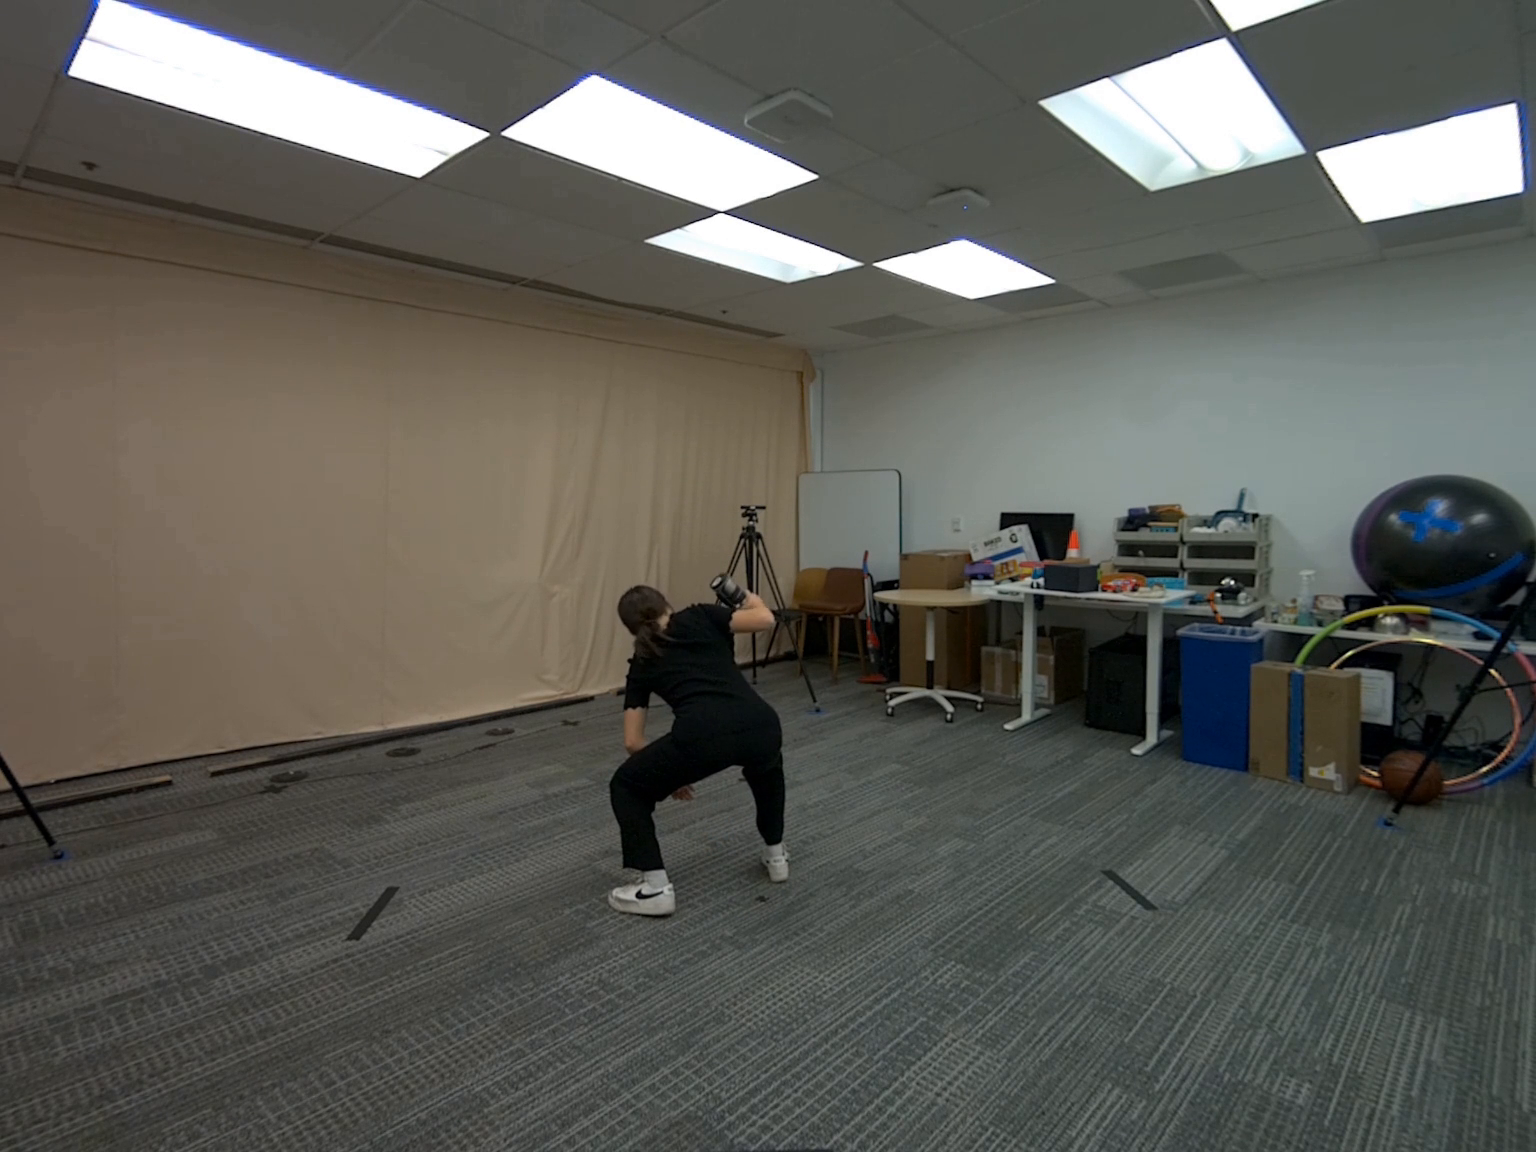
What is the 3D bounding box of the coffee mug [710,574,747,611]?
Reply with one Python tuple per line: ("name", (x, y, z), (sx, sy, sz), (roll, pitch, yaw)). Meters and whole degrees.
("coffee mug", (-0.141, 0.102, 3.316), (0.090, 0.199, 0.122), (-25, 24, 44))
